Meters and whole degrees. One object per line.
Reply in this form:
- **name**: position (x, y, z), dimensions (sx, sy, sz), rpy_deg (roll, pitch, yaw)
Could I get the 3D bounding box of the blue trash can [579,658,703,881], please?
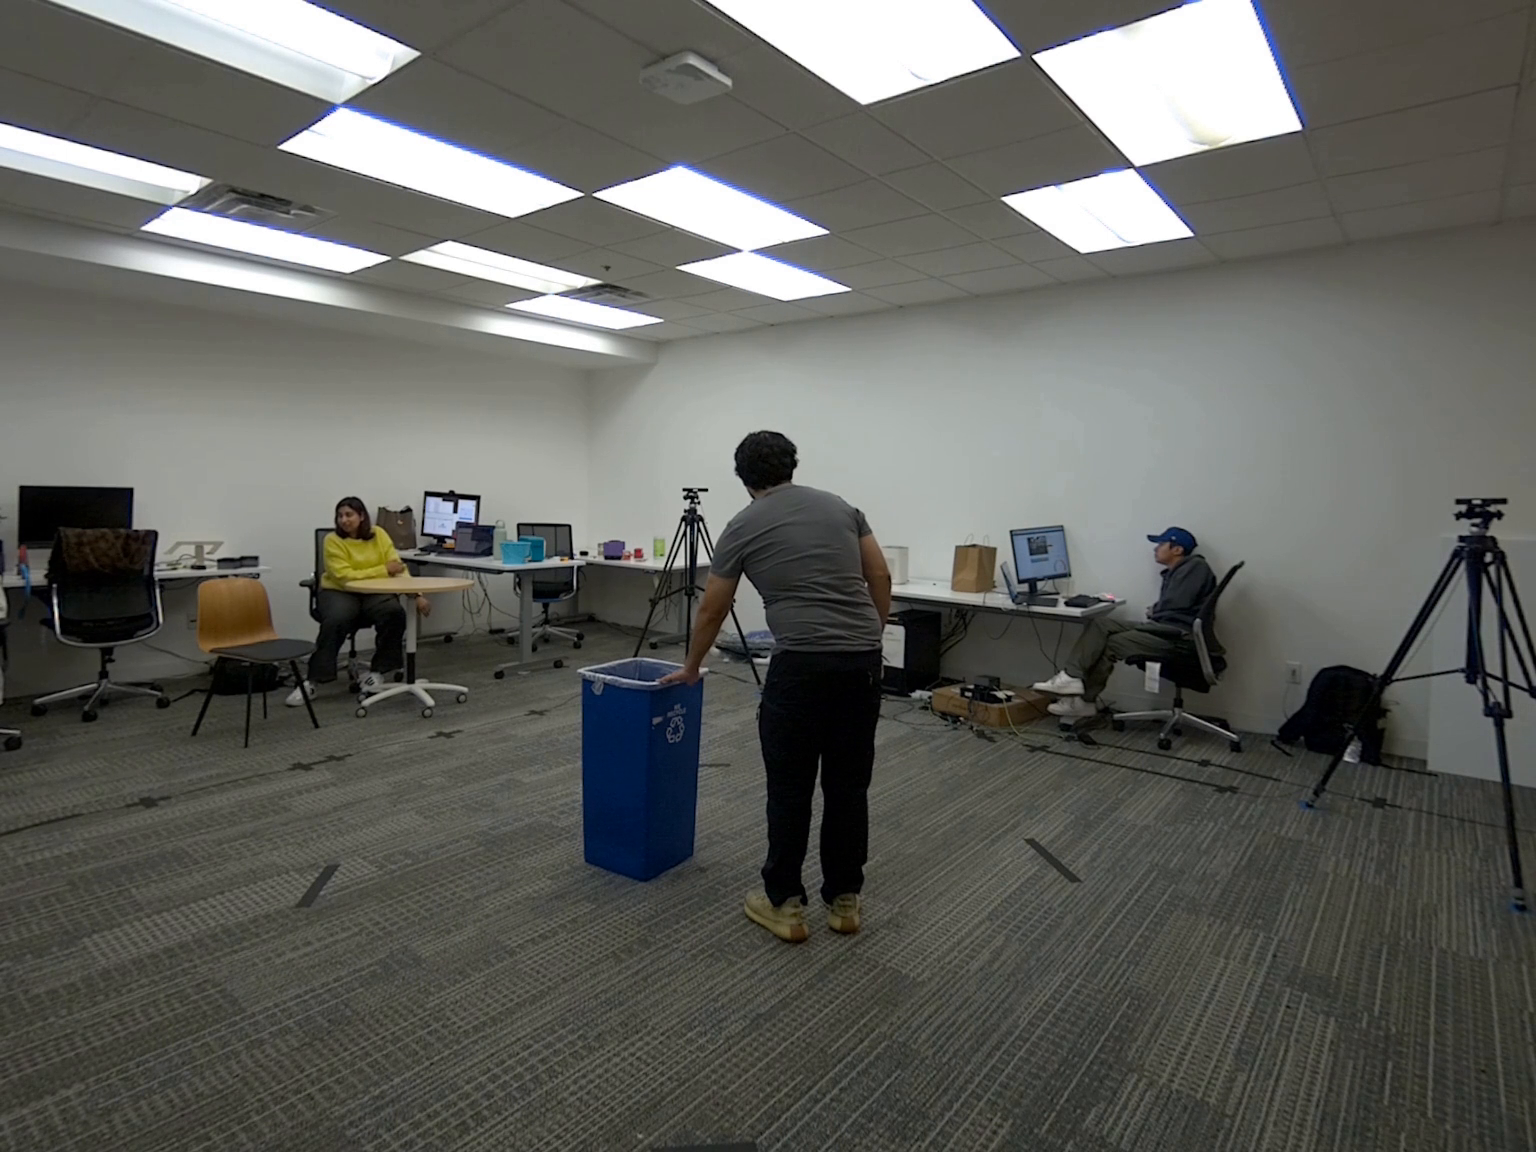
- **blue trash can**: position (-0.483, 0.699, 3.188), dimensions (0.390, 0.712, 0.364), rpy_deg (3, 4, 32)
